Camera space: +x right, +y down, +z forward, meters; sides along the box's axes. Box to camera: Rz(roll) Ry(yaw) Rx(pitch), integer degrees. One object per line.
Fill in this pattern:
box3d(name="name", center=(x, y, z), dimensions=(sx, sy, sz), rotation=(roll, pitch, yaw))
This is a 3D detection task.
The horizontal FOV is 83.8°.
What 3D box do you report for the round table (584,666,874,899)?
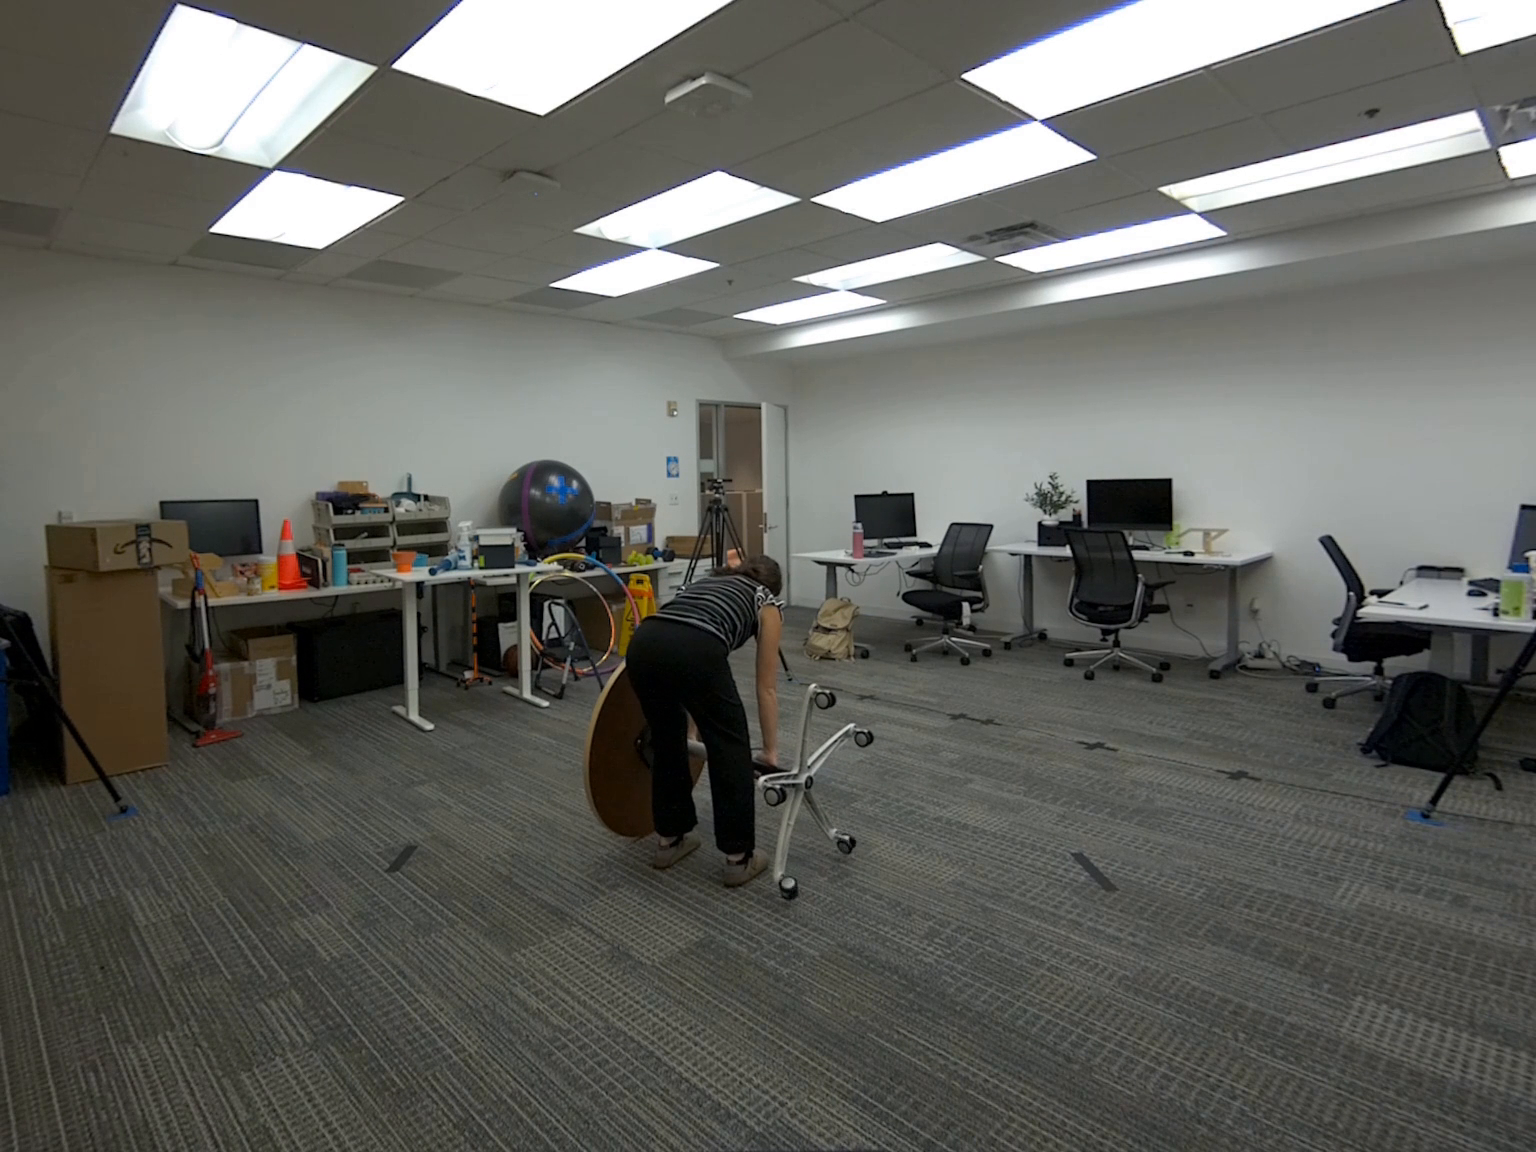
box3d(name="round table", center=(-0.118, 0.686, 3.140), dimensions=(0.818, 0.759, 0.746), rotation=(8, 9, 34))
